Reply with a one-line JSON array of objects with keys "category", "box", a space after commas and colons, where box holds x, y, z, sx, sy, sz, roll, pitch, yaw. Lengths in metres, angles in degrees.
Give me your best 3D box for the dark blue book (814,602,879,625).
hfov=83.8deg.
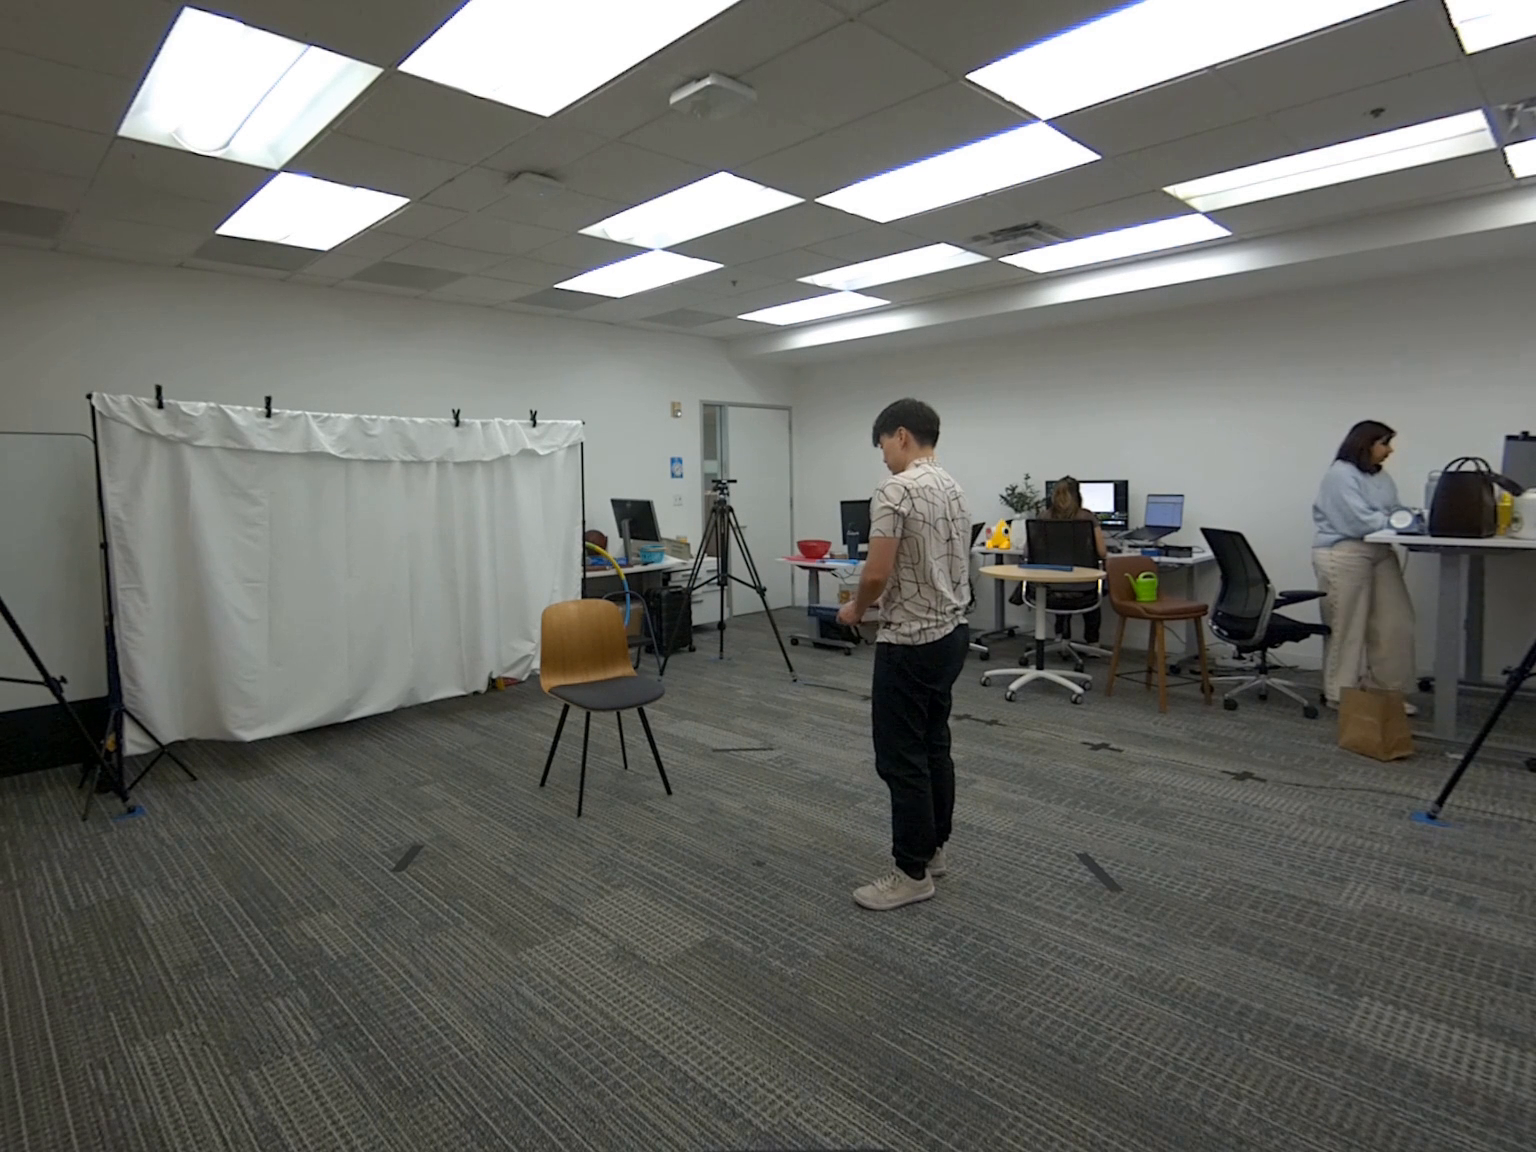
[{"category": "dark blue book", "box": [0.317, 0.136, 3.169, 0.253, 0.045, 0.159, 6, 5, 39]}]
